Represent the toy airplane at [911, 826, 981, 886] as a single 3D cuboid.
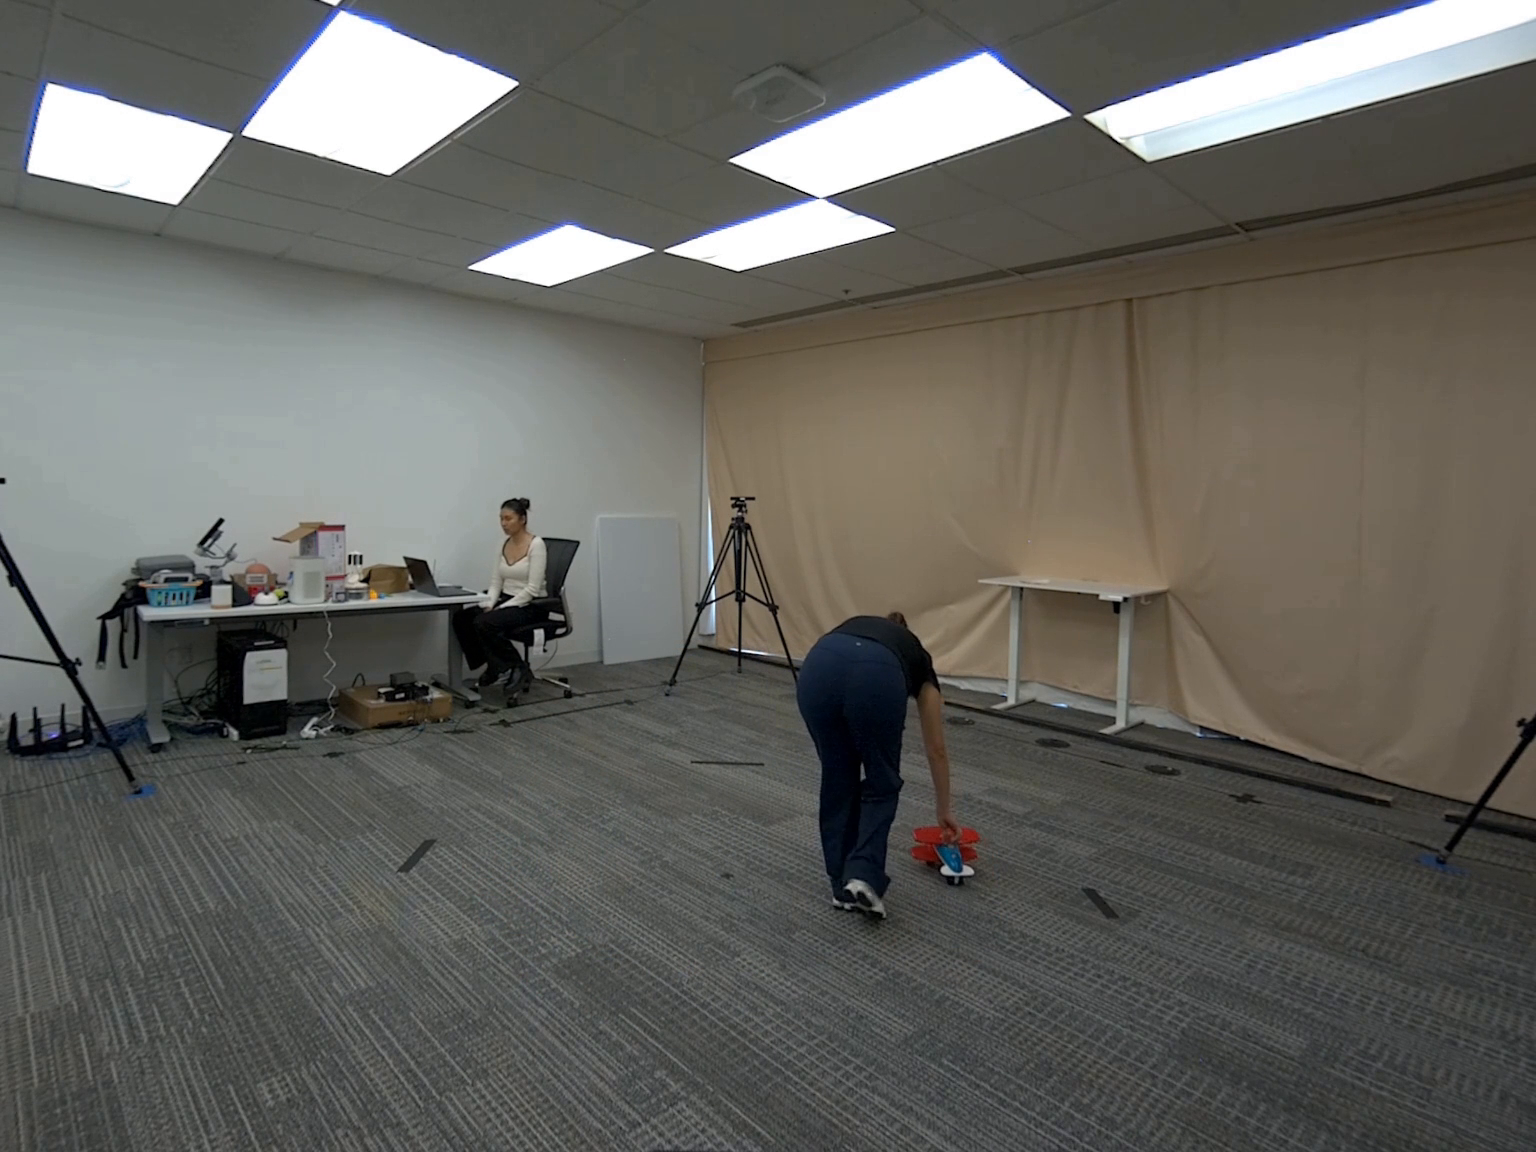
[{"bbox_3d":[0.688,1.049,3.167,0.246,0.156,0.265,-2,5,-34],"label":"toy airplane"}]
